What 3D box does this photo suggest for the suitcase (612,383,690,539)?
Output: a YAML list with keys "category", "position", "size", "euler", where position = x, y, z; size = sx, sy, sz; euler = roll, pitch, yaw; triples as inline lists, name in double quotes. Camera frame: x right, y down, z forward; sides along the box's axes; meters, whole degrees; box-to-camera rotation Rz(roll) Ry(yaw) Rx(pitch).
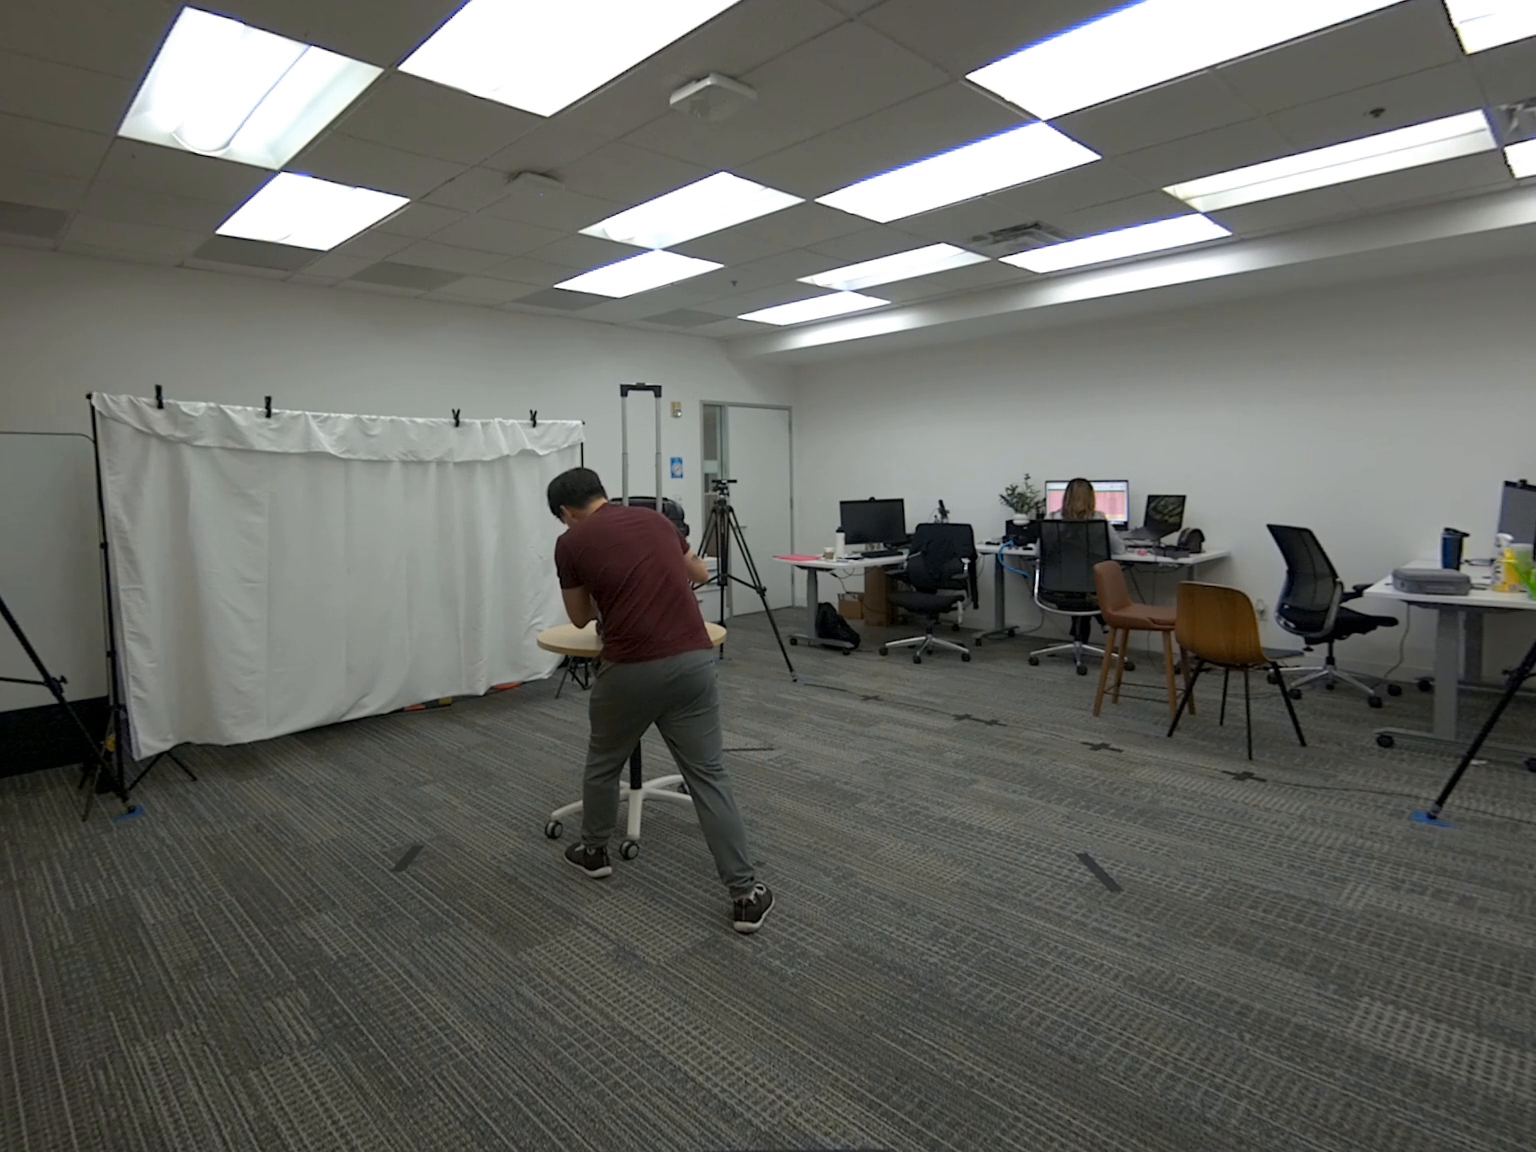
- category: "suitcase"
  position: [-0.513, -0.243, 3.374]
  size: [0.380, 0.977, 0.260]
  euler: [0, 1, -12]
